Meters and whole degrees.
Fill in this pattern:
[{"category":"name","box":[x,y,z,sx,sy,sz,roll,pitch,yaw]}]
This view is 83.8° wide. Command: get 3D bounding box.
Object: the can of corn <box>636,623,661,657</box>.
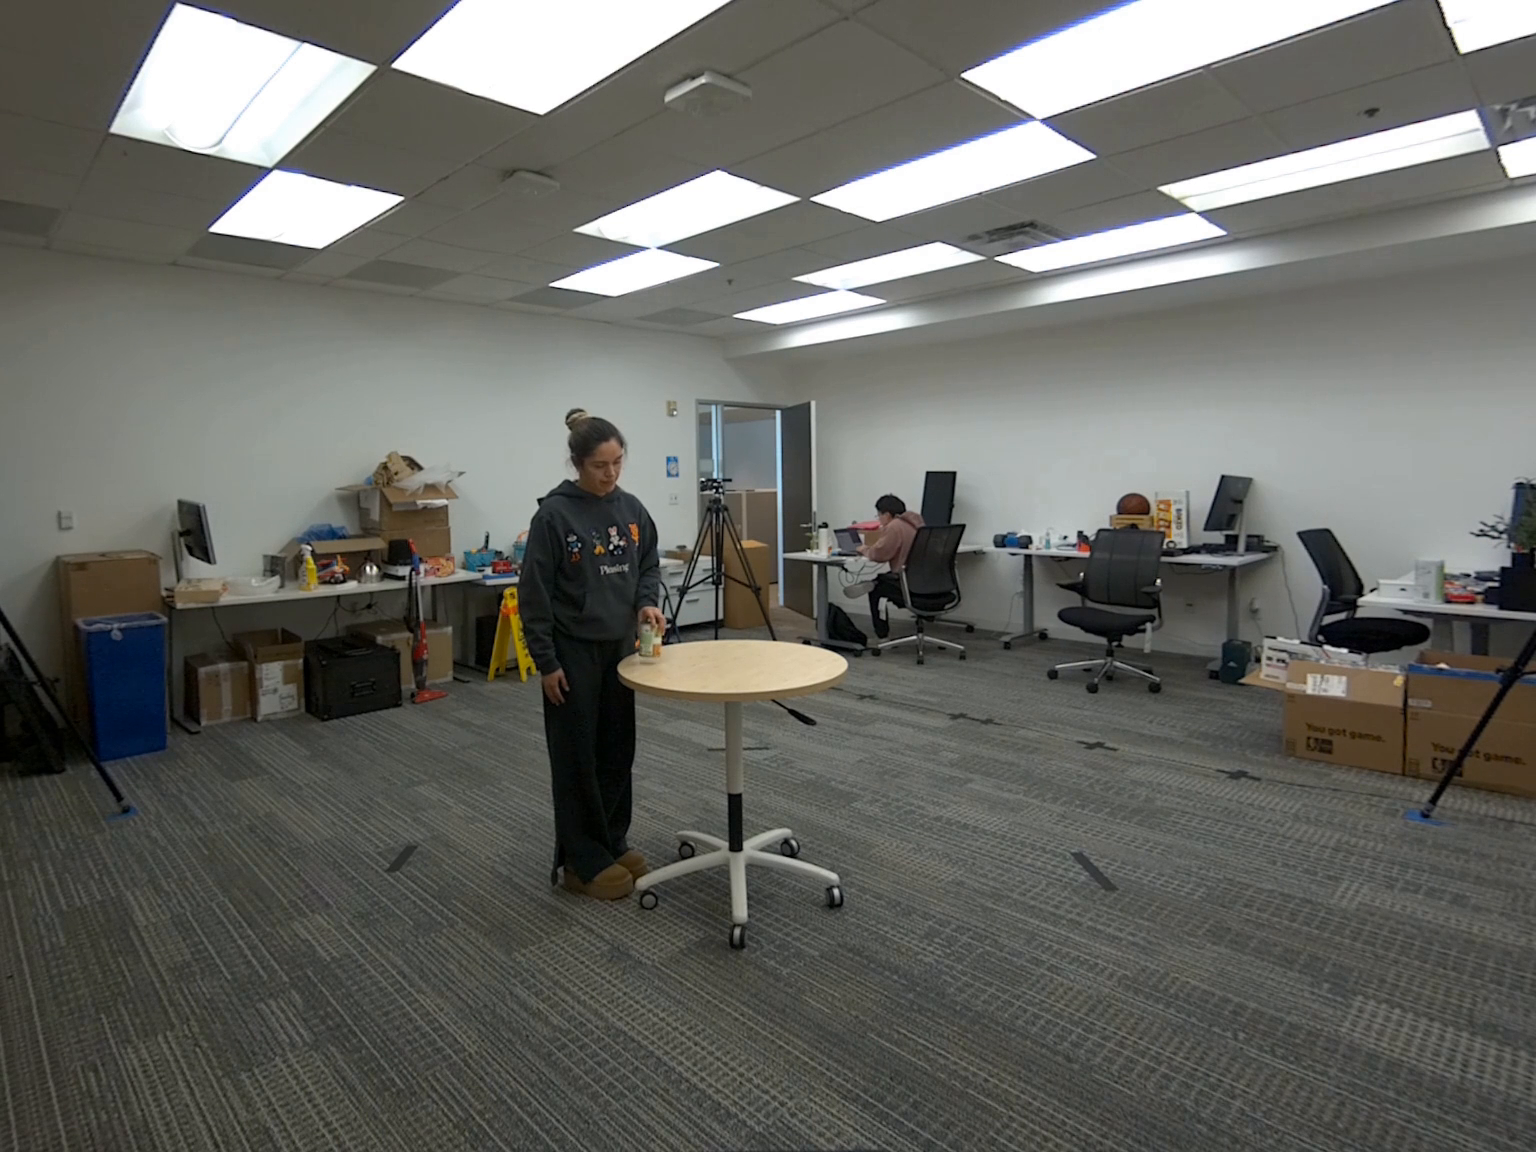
[{"category":"can of corn","box":[-0.399,0.219,2.866,0.074,0.111,0.074,1,3,-2]}]
